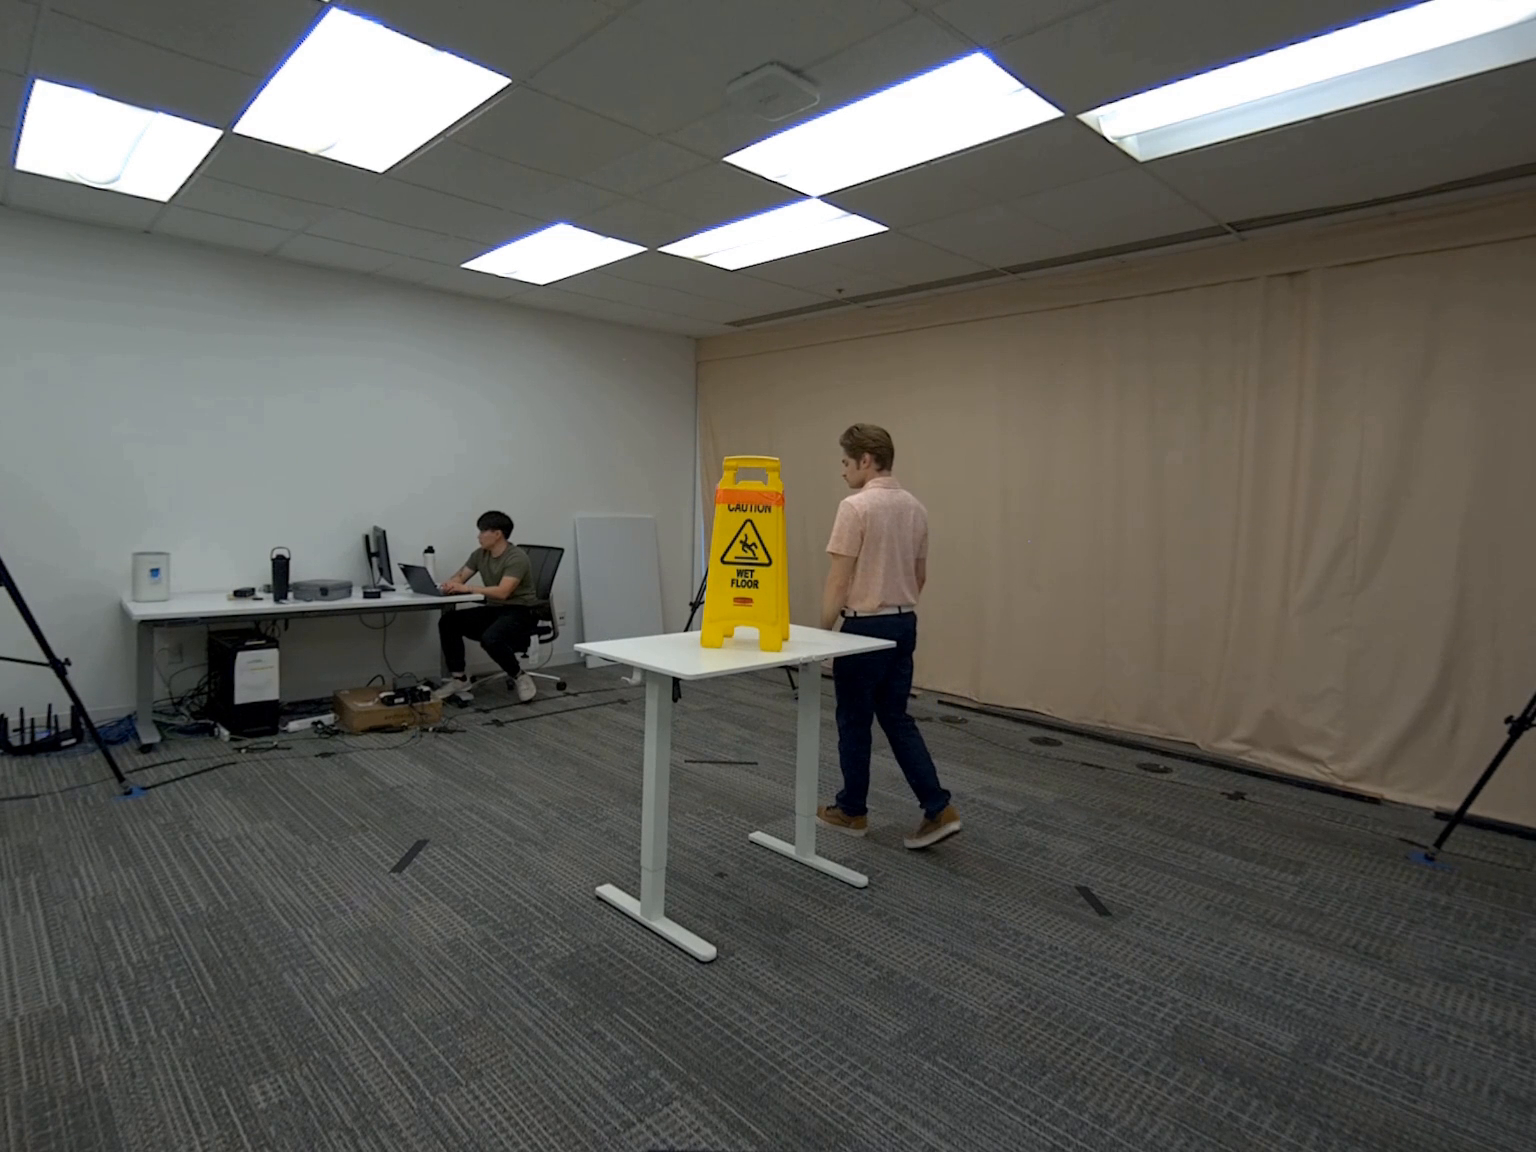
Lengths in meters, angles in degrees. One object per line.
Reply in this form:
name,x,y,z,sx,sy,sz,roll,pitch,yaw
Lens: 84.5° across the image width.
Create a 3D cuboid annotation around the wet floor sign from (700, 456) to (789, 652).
wet floor sign,-0.069,-0.085,2.922,0.284,0.645,0.288,3,2,7
